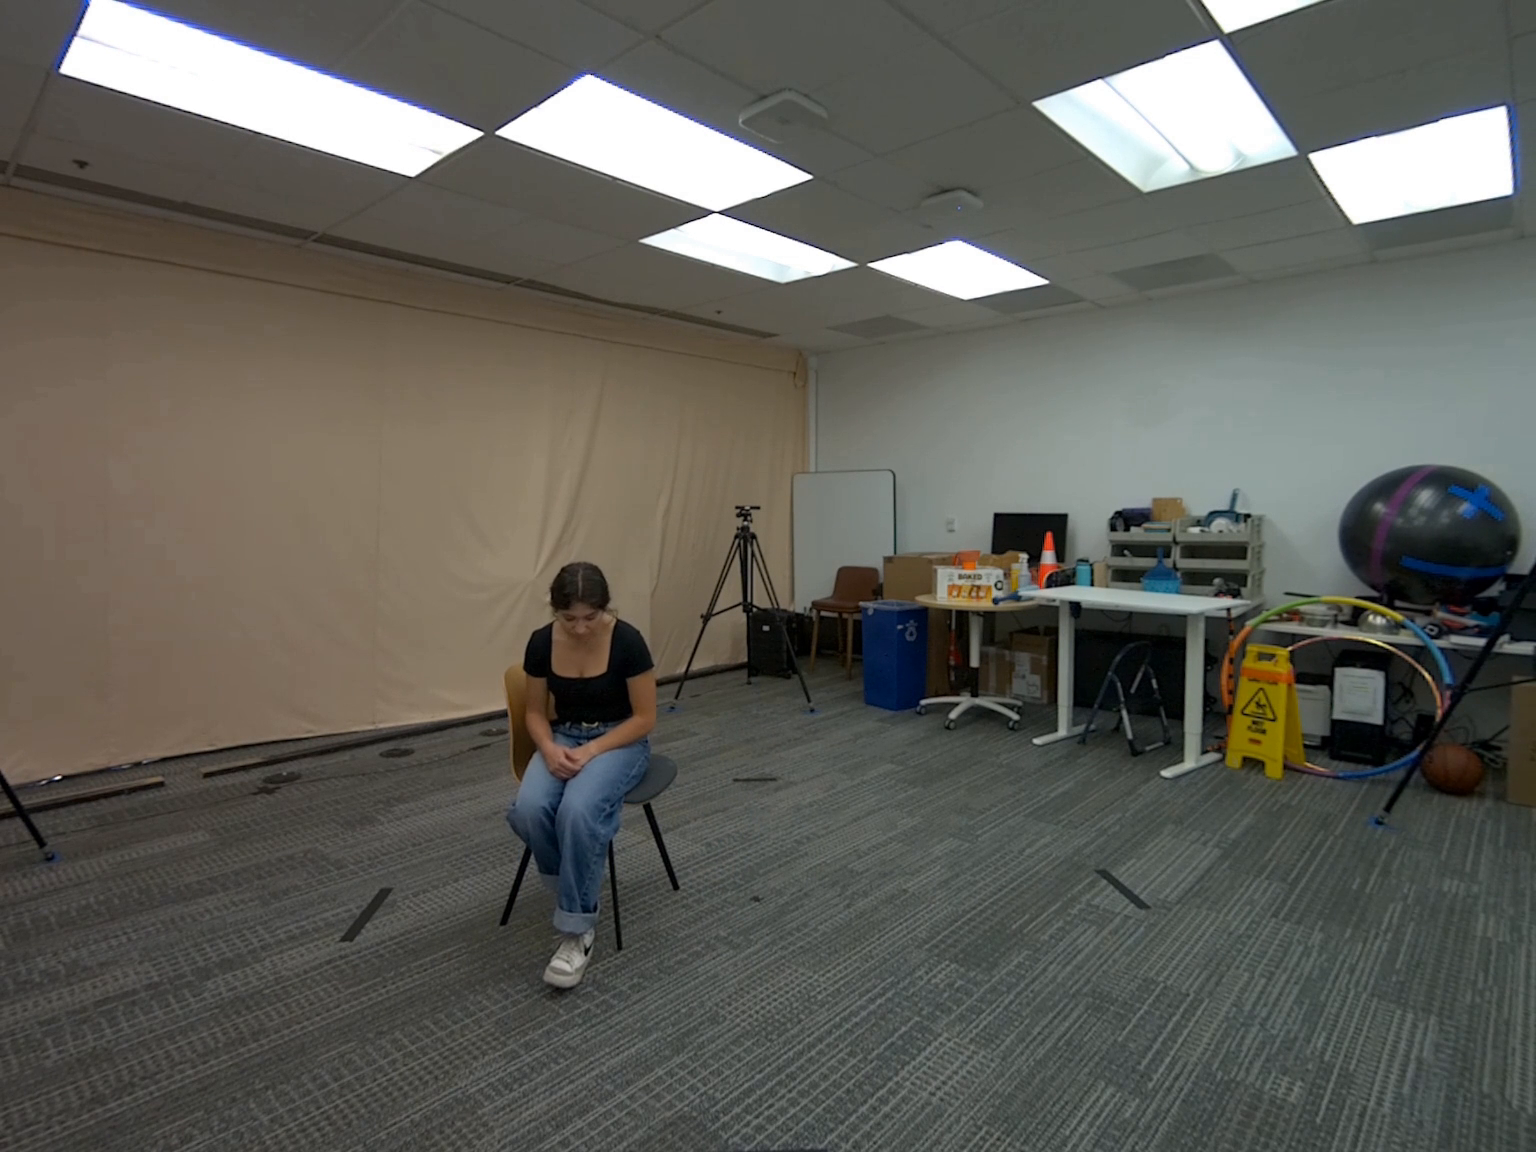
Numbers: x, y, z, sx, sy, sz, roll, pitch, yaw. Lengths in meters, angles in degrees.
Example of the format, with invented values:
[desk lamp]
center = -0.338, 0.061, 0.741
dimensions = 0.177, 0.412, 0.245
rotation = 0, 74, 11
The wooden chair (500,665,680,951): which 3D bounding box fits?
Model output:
[wooden chair]
center = -0.602, 0.733, 2.907
dimensions = 0.534, 0.875, 0.469
rotation = -3, 3, 20
